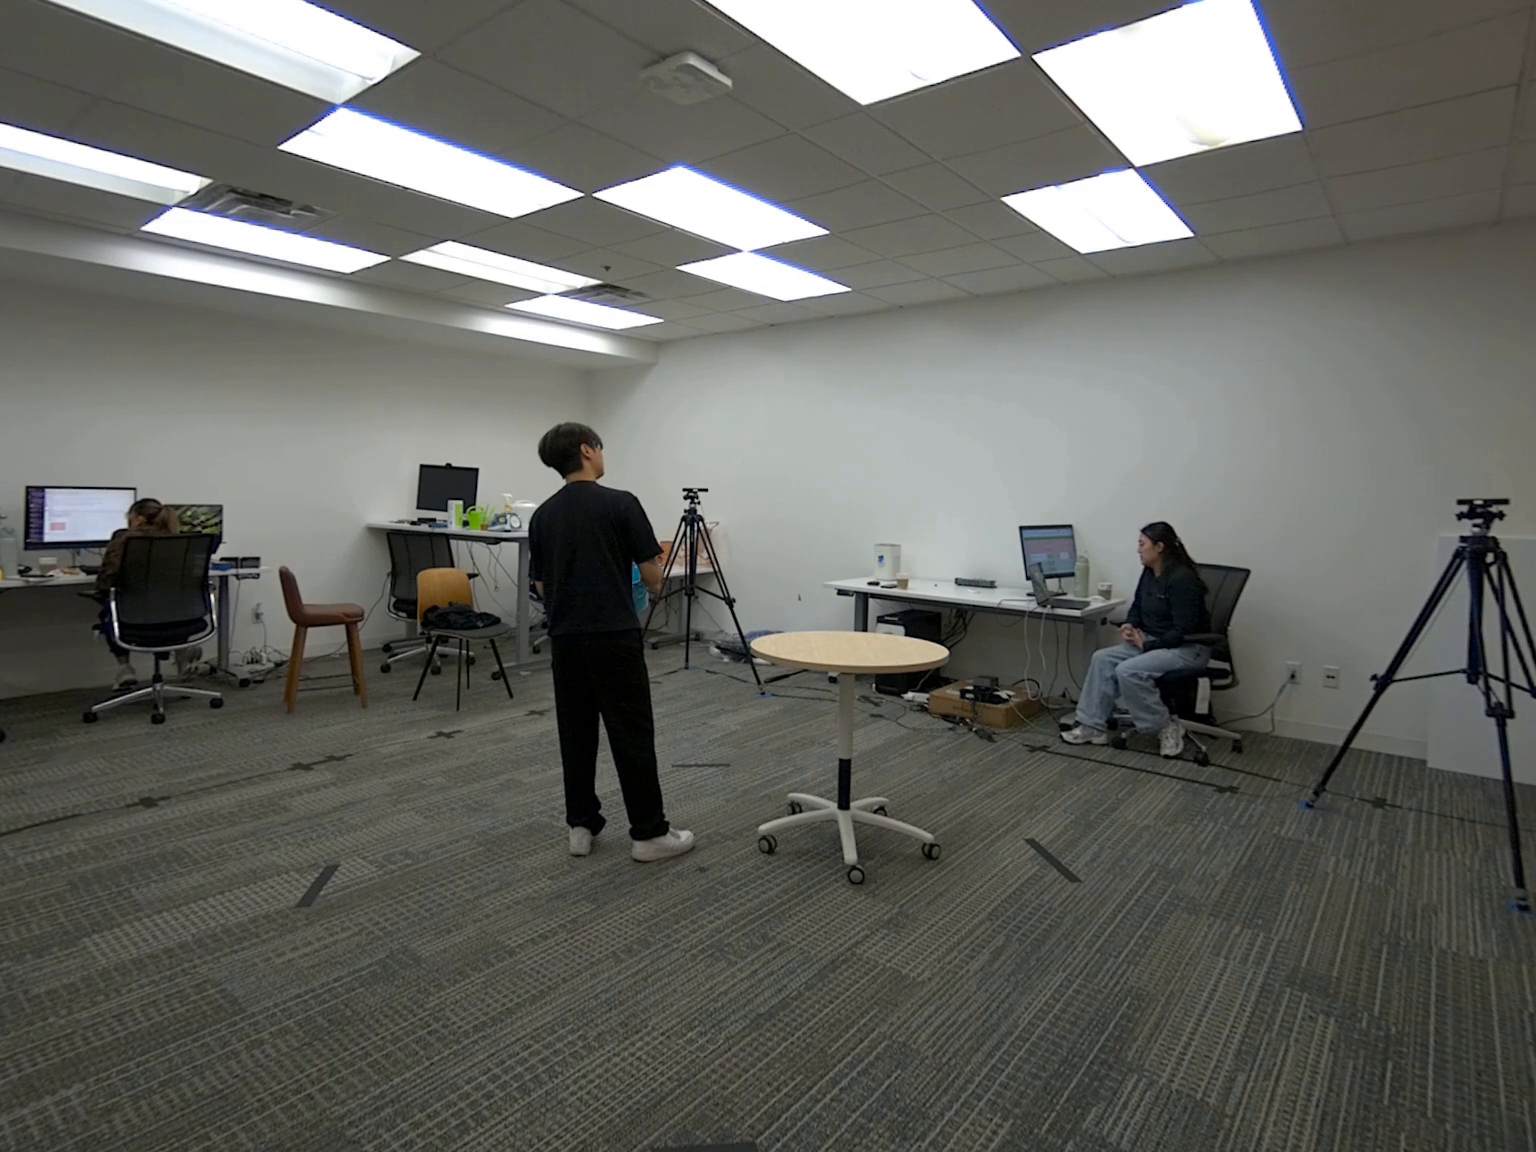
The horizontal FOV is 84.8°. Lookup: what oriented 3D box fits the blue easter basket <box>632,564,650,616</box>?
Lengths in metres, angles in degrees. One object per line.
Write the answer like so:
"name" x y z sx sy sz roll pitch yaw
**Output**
"blue easter basket" -0.622 0.062 3.596 0.244 0.153 0.248 -4 22 0
